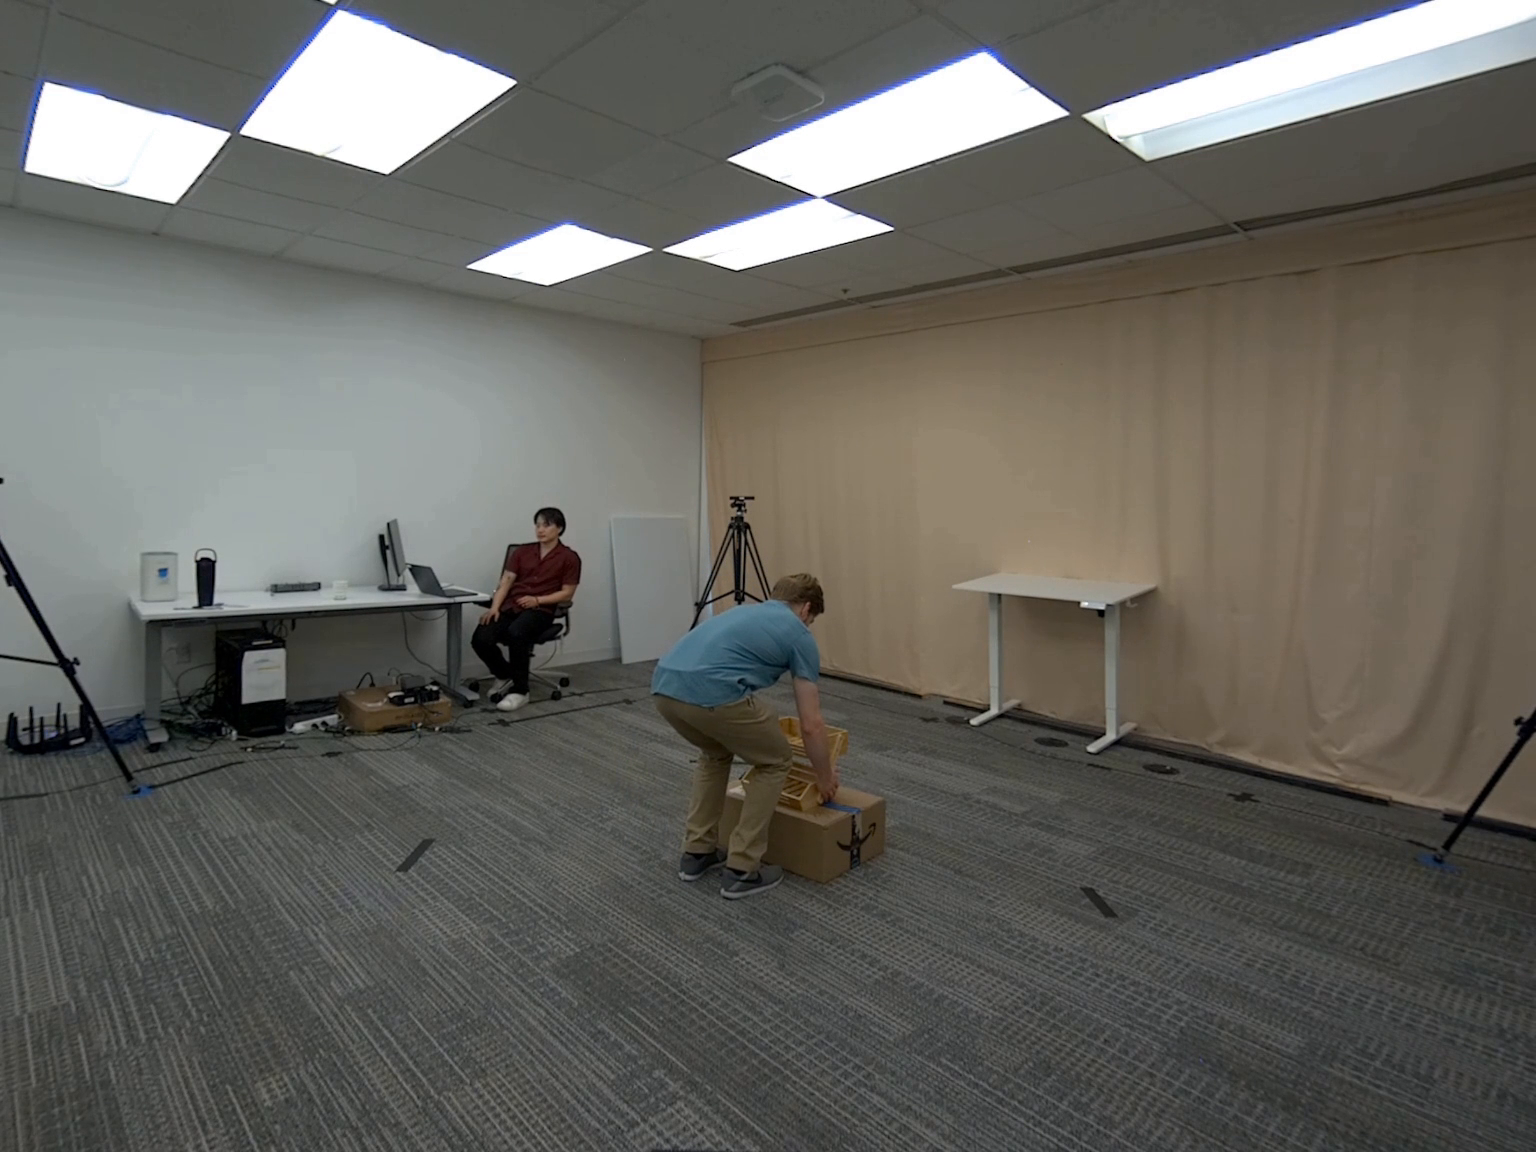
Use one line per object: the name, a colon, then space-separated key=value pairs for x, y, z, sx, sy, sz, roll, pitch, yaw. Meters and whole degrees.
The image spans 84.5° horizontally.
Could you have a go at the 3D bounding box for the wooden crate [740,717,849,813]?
wooden crate: x=0.096 y=0.739 z=3.386 sx=0.333 sy=0.273 sz=0.295 roll=6 pitch=4 yaw=41
